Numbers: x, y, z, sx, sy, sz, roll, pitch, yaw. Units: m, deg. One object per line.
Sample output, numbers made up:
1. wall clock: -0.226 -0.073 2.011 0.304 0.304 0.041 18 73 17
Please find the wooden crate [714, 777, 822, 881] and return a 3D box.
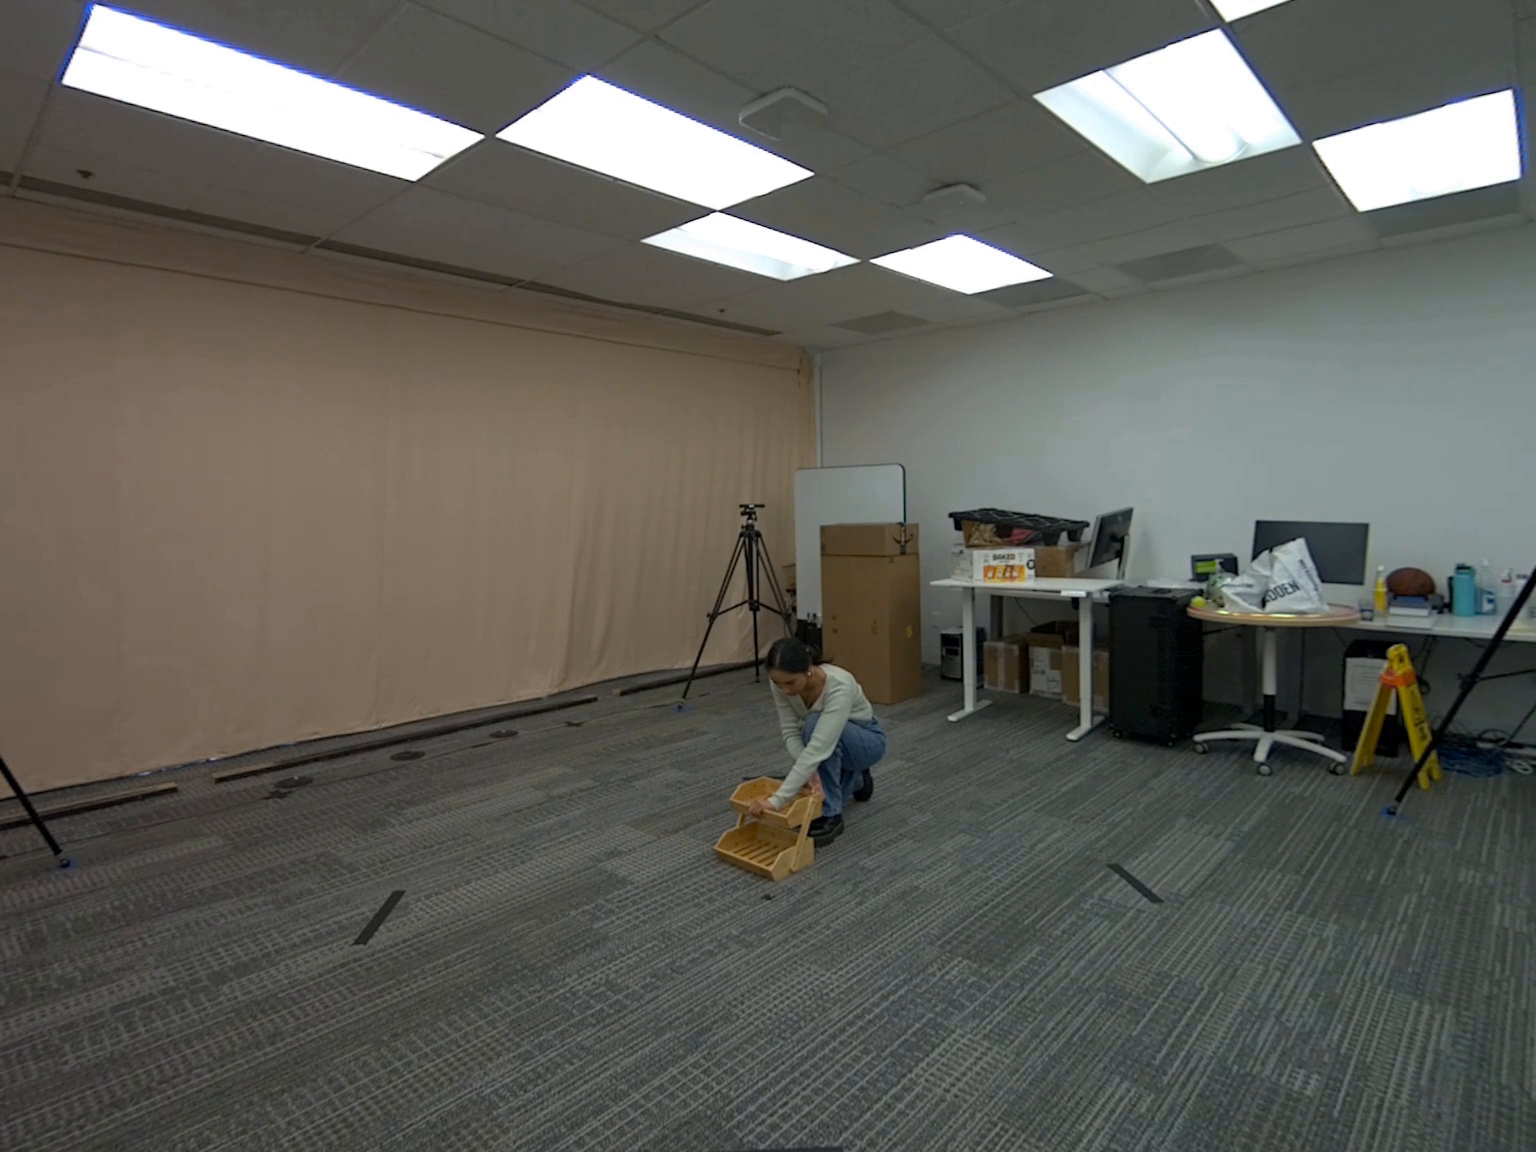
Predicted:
1. wooden crate: -0.003 0.975 3.296 0.335 0.273 0.293 3 5 43
